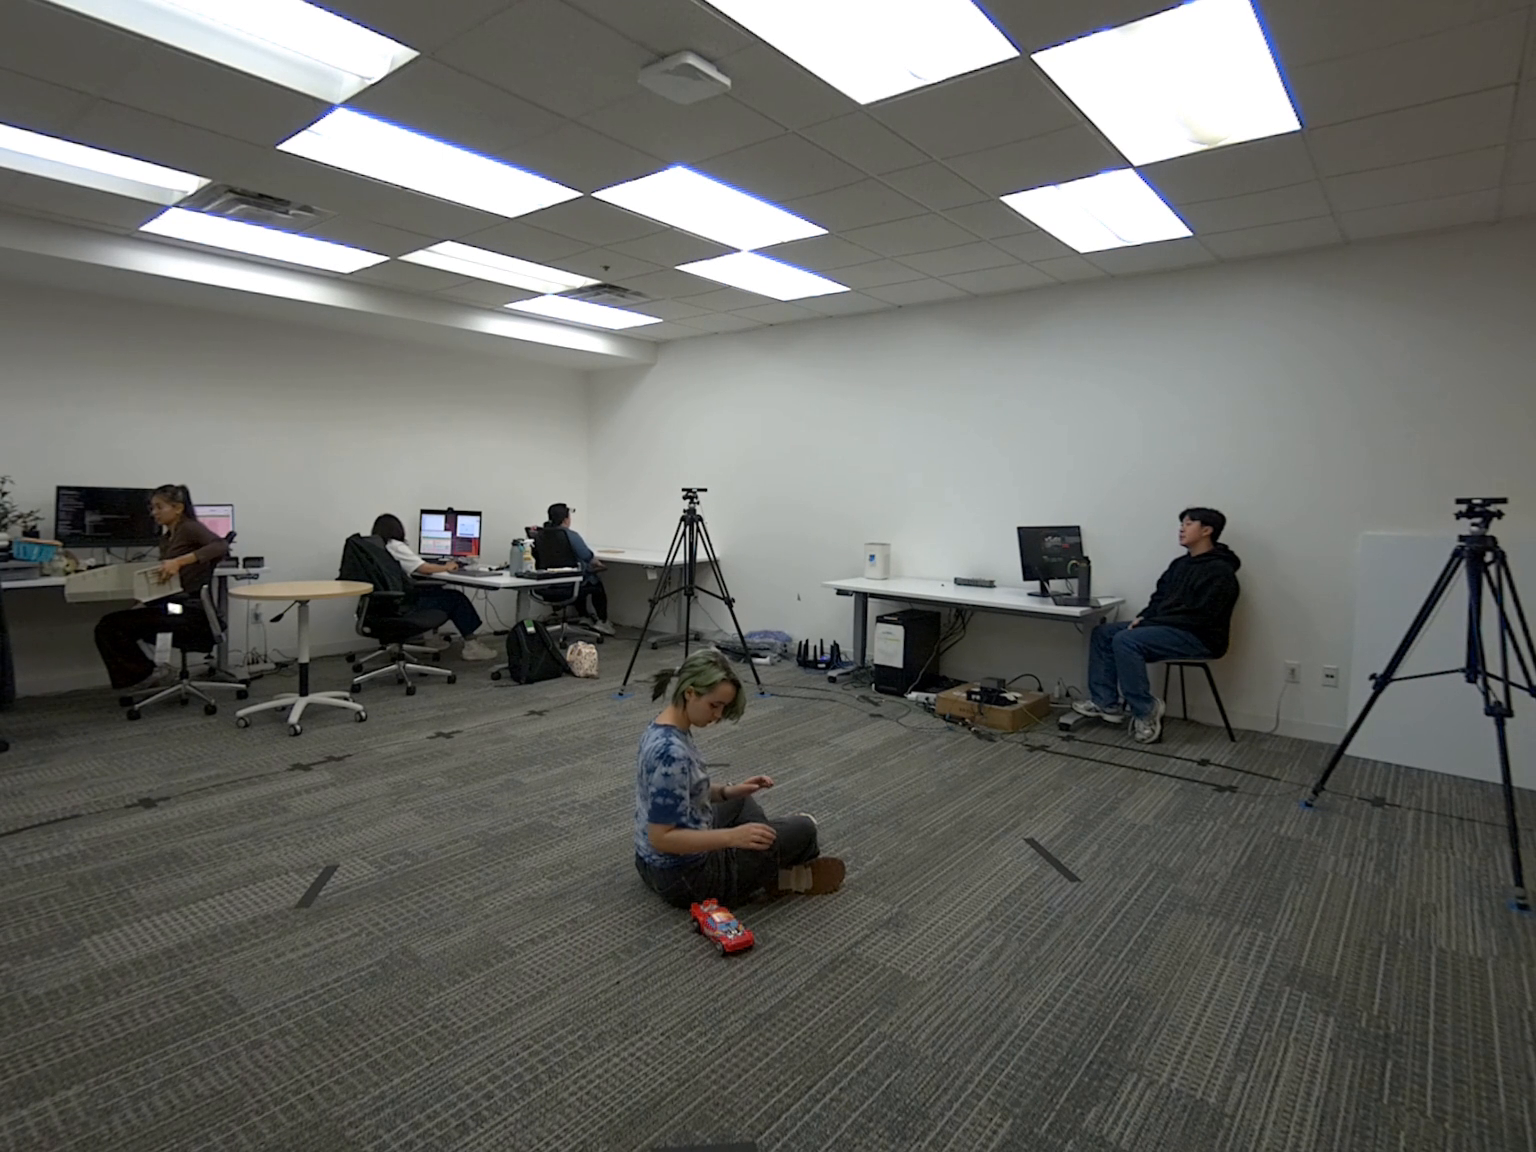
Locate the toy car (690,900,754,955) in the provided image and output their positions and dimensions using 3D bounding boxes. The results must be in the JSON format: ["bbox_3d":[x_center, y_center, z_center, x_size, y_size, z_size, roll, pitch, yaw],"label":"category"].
[{"bbox_3d":[-0.155,1.083,2.639,0.127,0.082,0.264,-2,17,-32],"label":"toy car"}]
